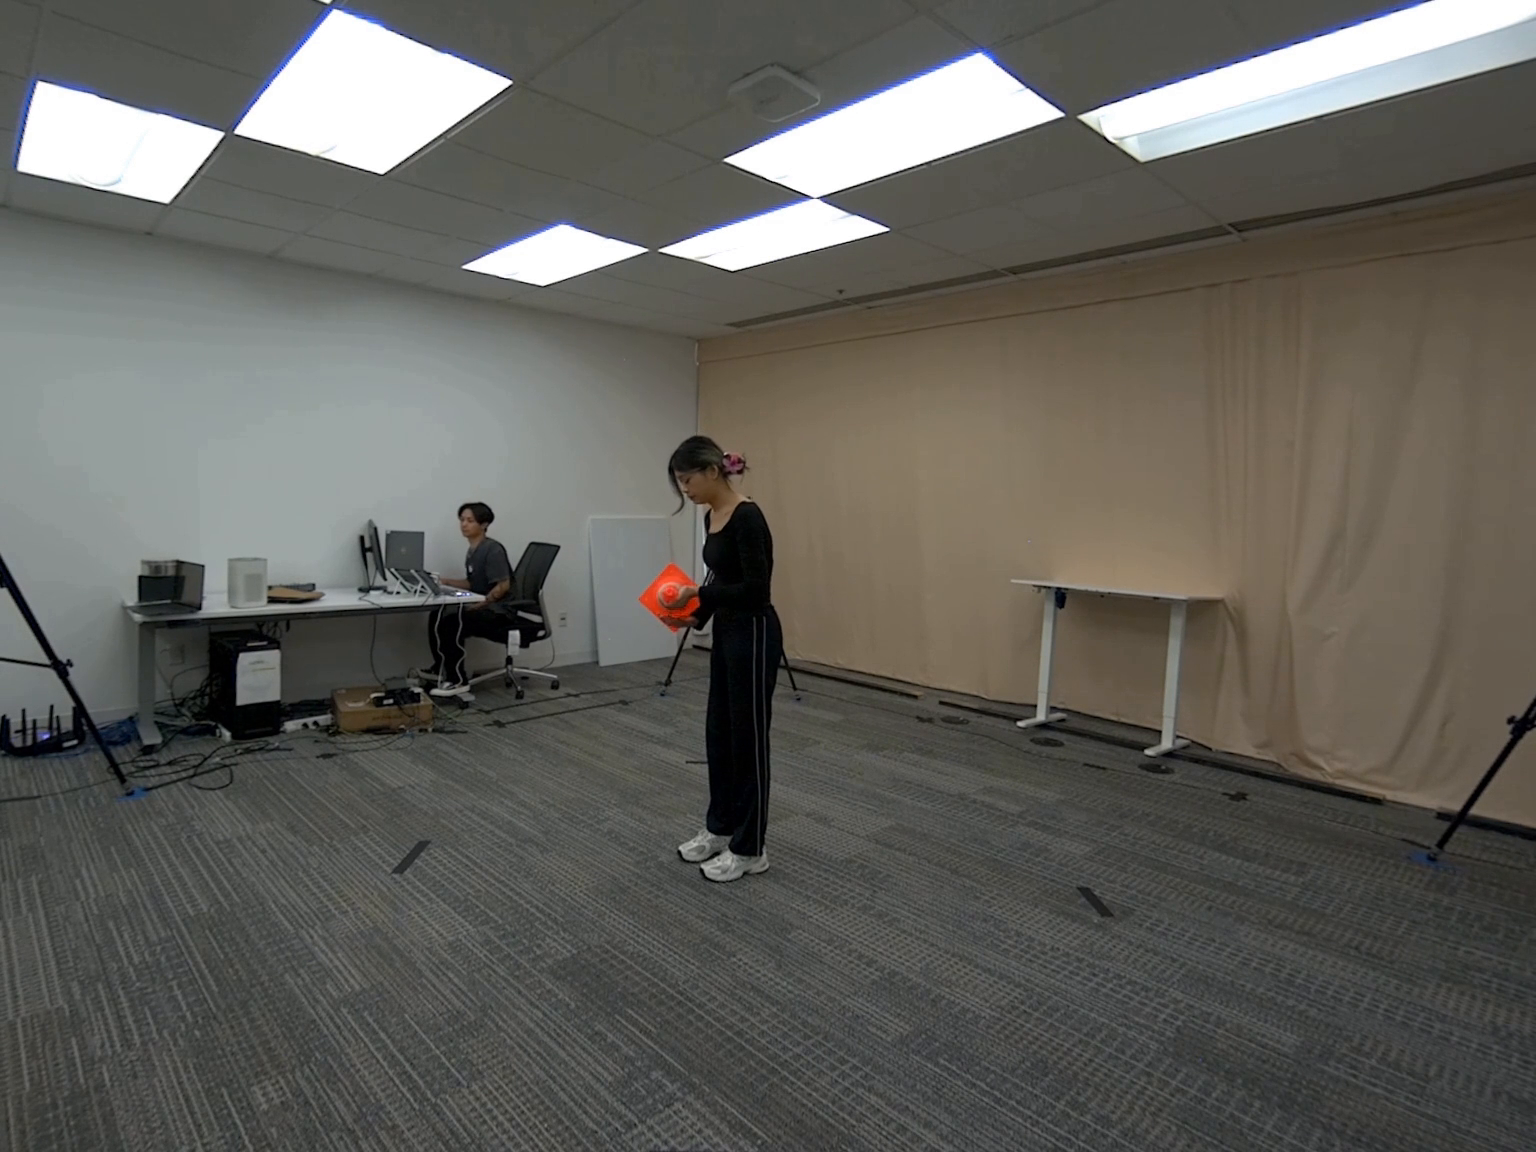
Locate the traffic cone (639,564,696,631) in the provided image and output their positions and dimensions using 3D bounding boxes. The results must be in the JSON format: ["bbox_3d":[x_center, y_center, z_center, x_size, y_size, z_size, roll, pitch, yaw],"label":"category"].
[{"bbox_3d":[-0.343,0.086,3.073,0.202,0.205,0.386,39,-6,-7],"label":"traffic cone"}]
